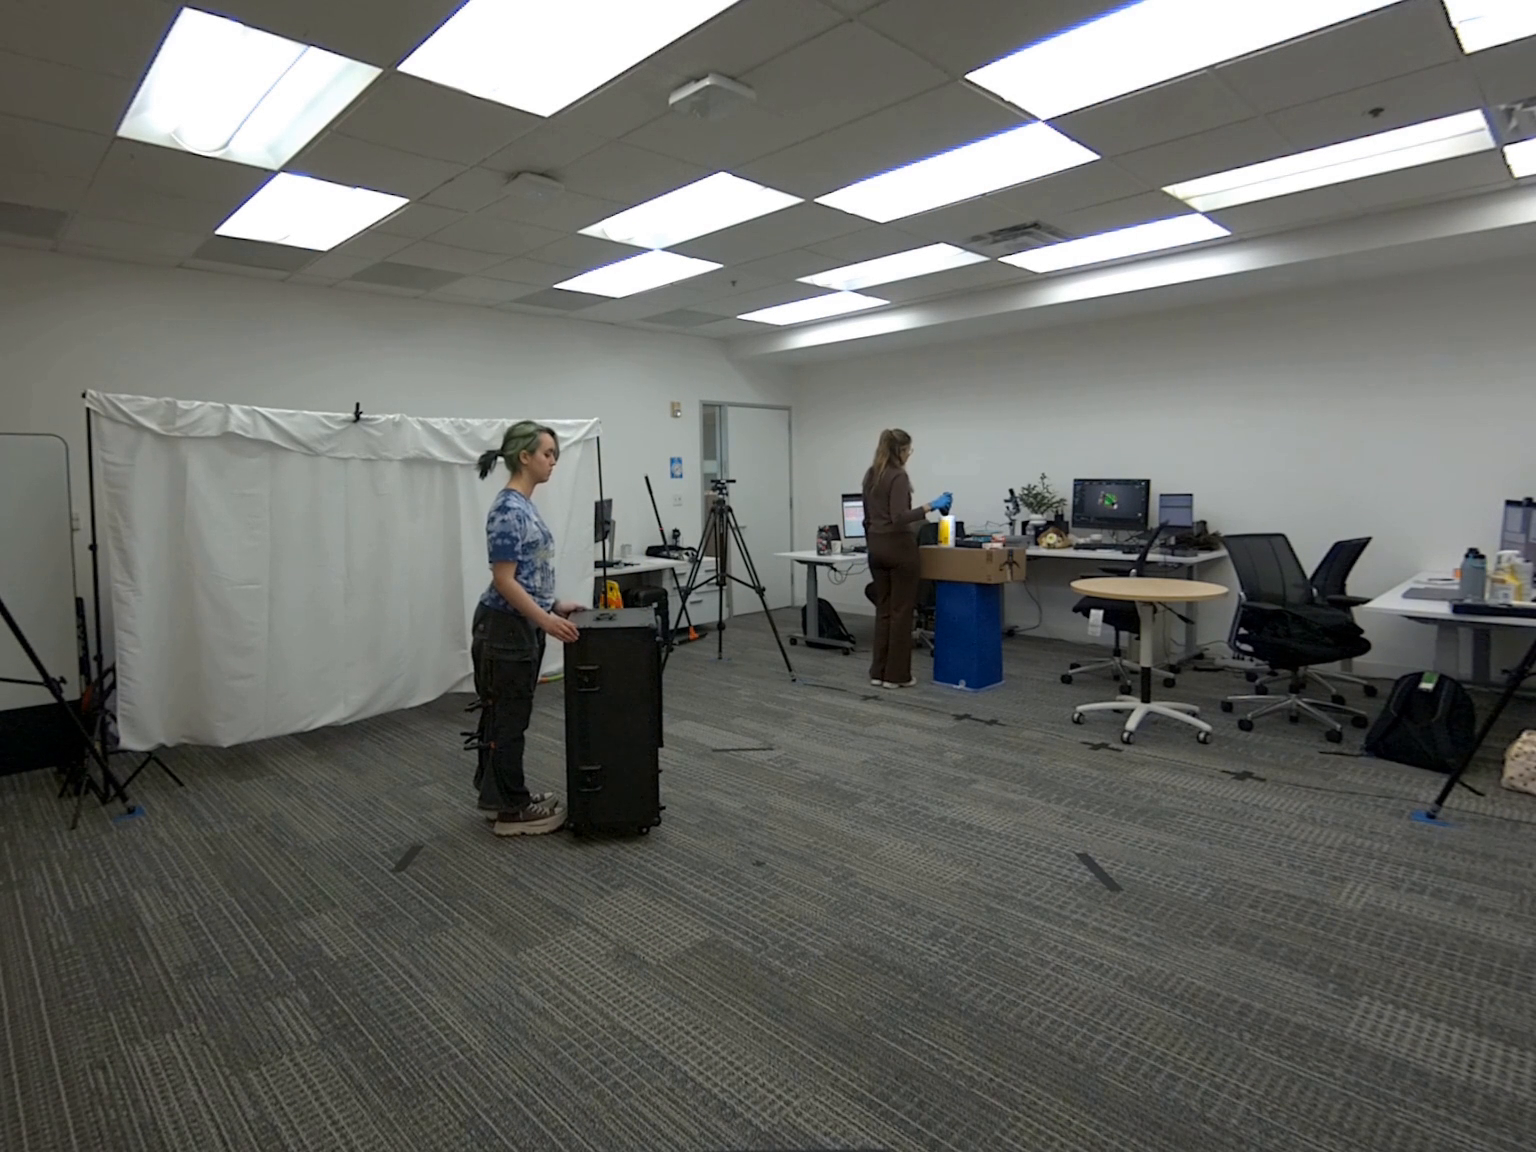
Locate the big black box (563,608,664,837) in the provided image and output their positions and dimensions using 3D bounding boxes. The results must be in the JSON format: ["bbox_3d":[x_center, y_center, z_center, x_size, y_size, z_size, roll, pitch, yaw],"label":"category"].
[{"bbox_3d":[-0.625,0.589,3.497,0.394,0.859,0.526,0,4,-7],"label":"big black box"}]
